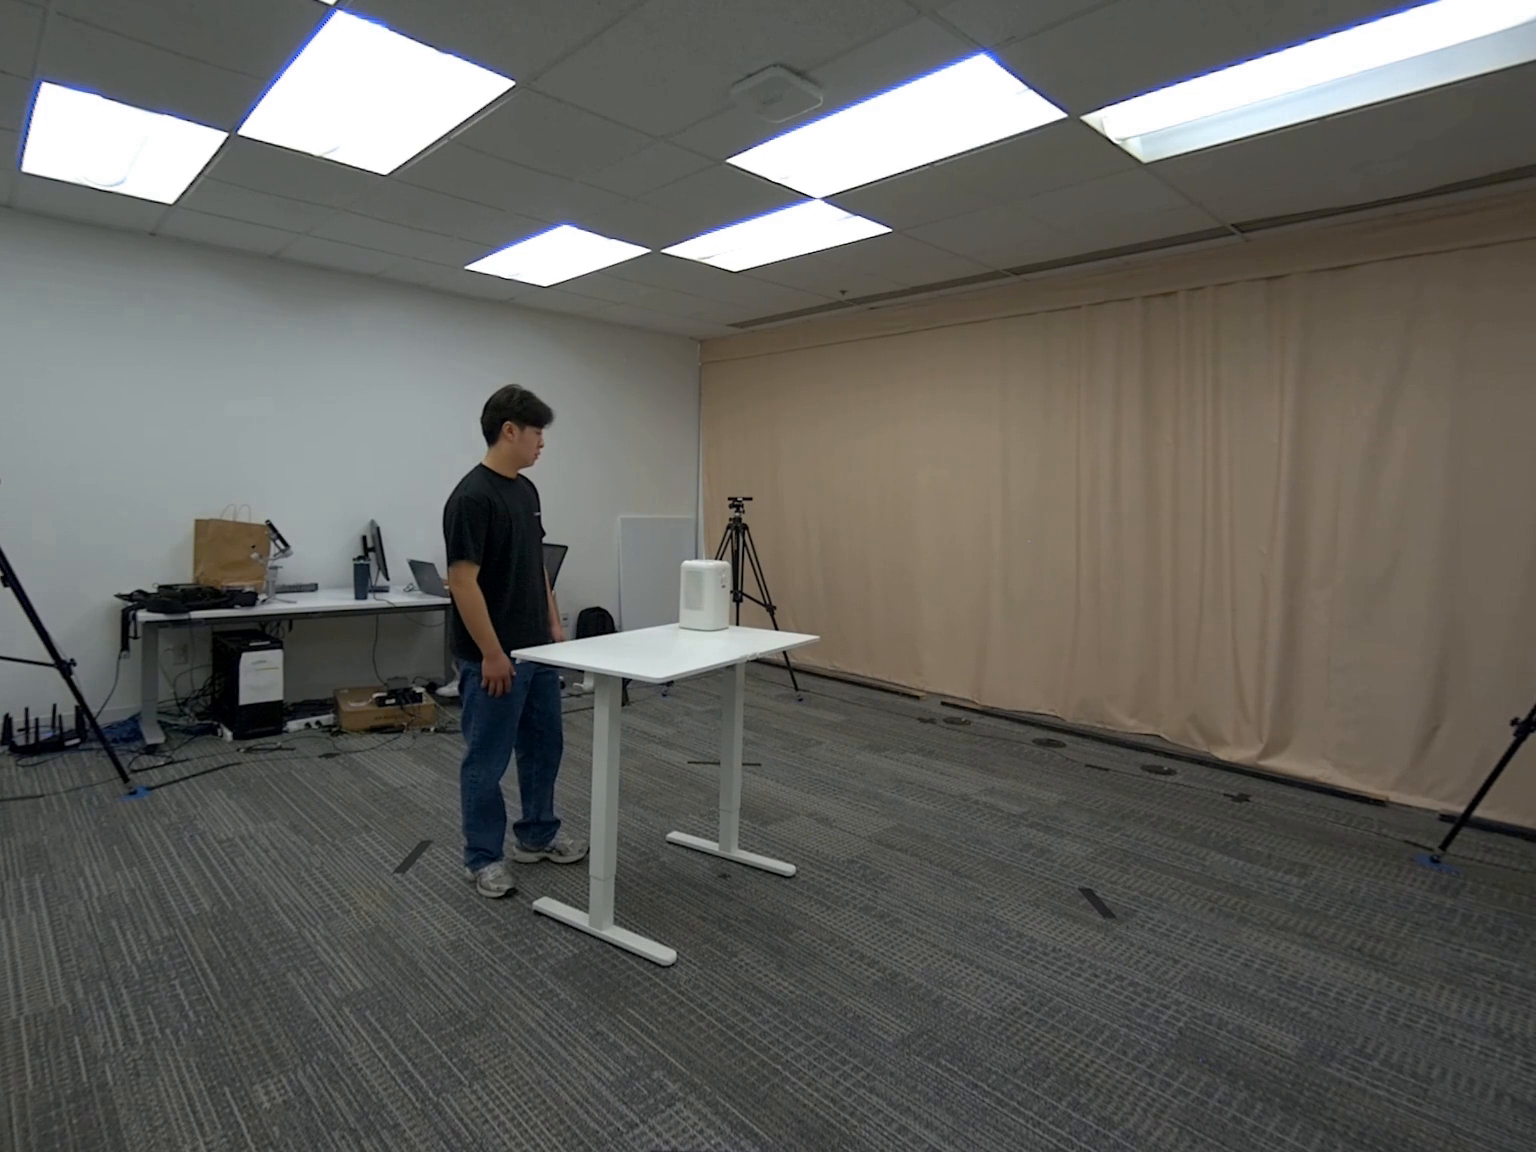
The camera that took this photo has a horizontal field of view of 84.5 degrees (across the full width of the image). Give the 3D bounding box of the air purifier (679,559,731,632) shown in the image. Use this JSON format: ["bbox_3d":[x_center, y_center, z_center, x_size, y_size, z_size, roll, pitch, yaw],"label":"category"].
[{"bbox_3d":[-0.253,0.074,3.313,0.175,0.265,0.167,3,4,32],"label":"air purifier"}]
